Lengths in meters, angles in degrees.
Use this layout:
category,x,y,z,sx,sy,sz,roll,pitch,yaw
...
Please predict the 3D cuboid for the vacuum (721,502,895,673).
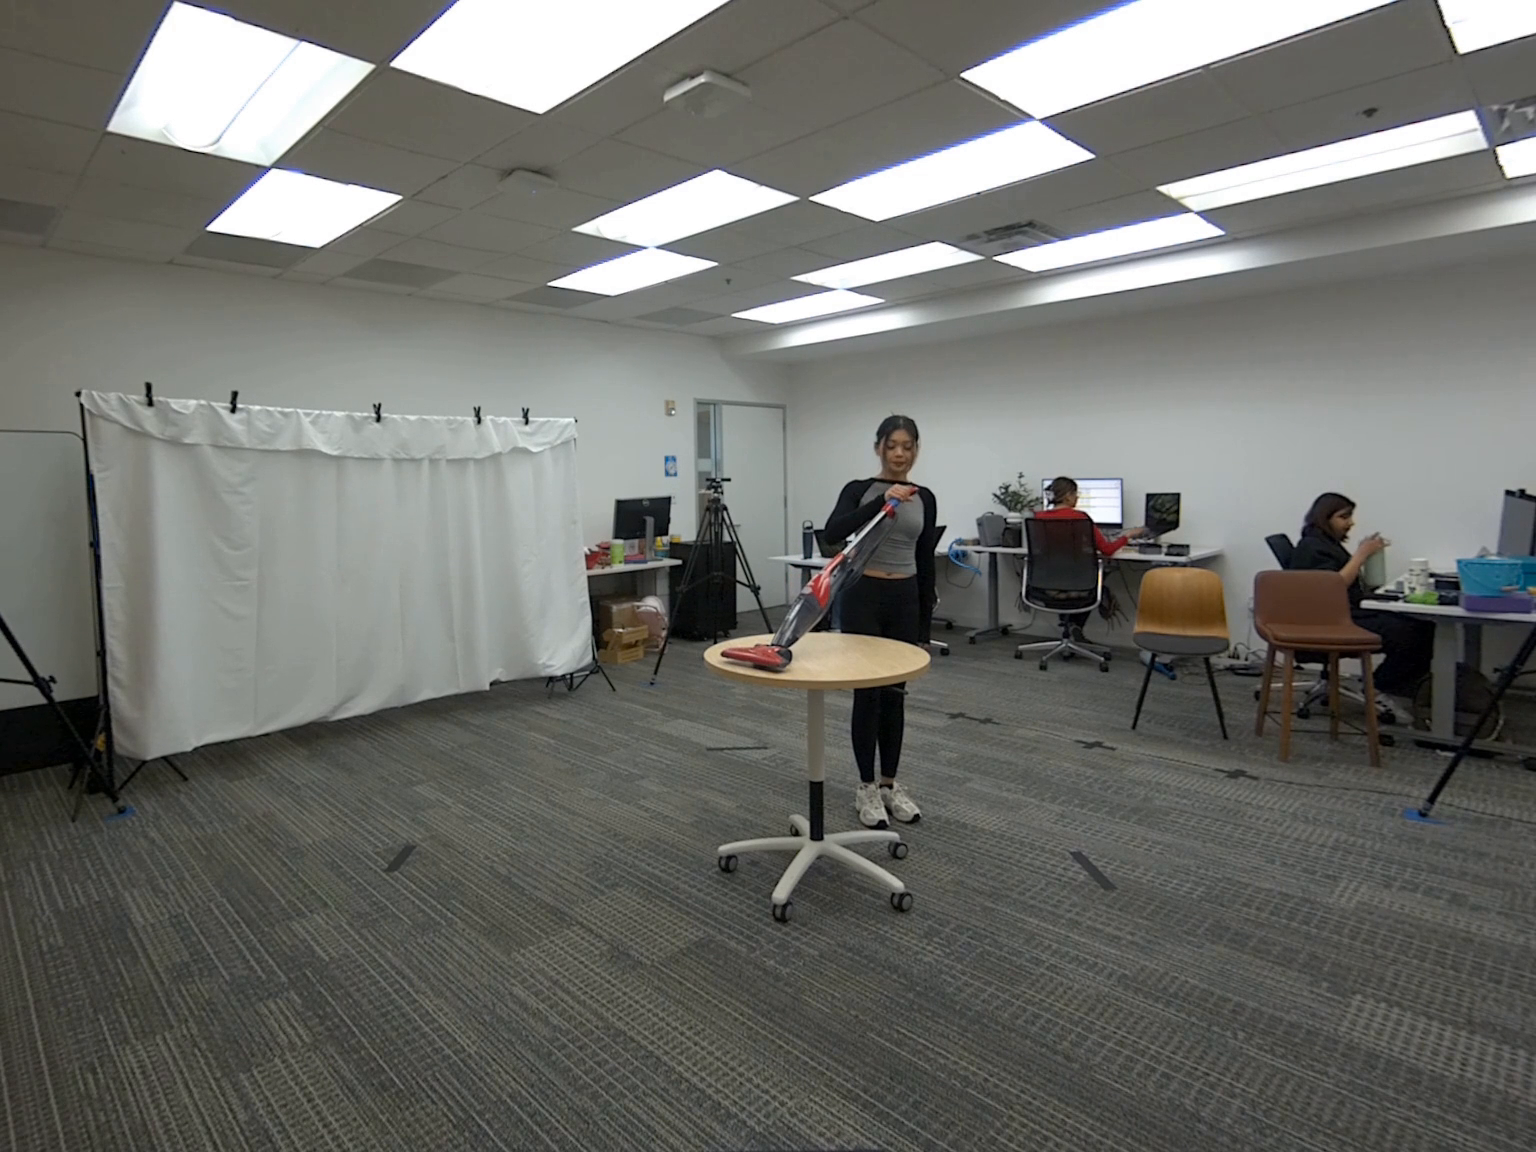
category,x,y,z,sx,sy,sz,roll,pitch,yaw
vacuum,0.268,-0.020,3.053,0.260,0.140,1.048,5,38,39
